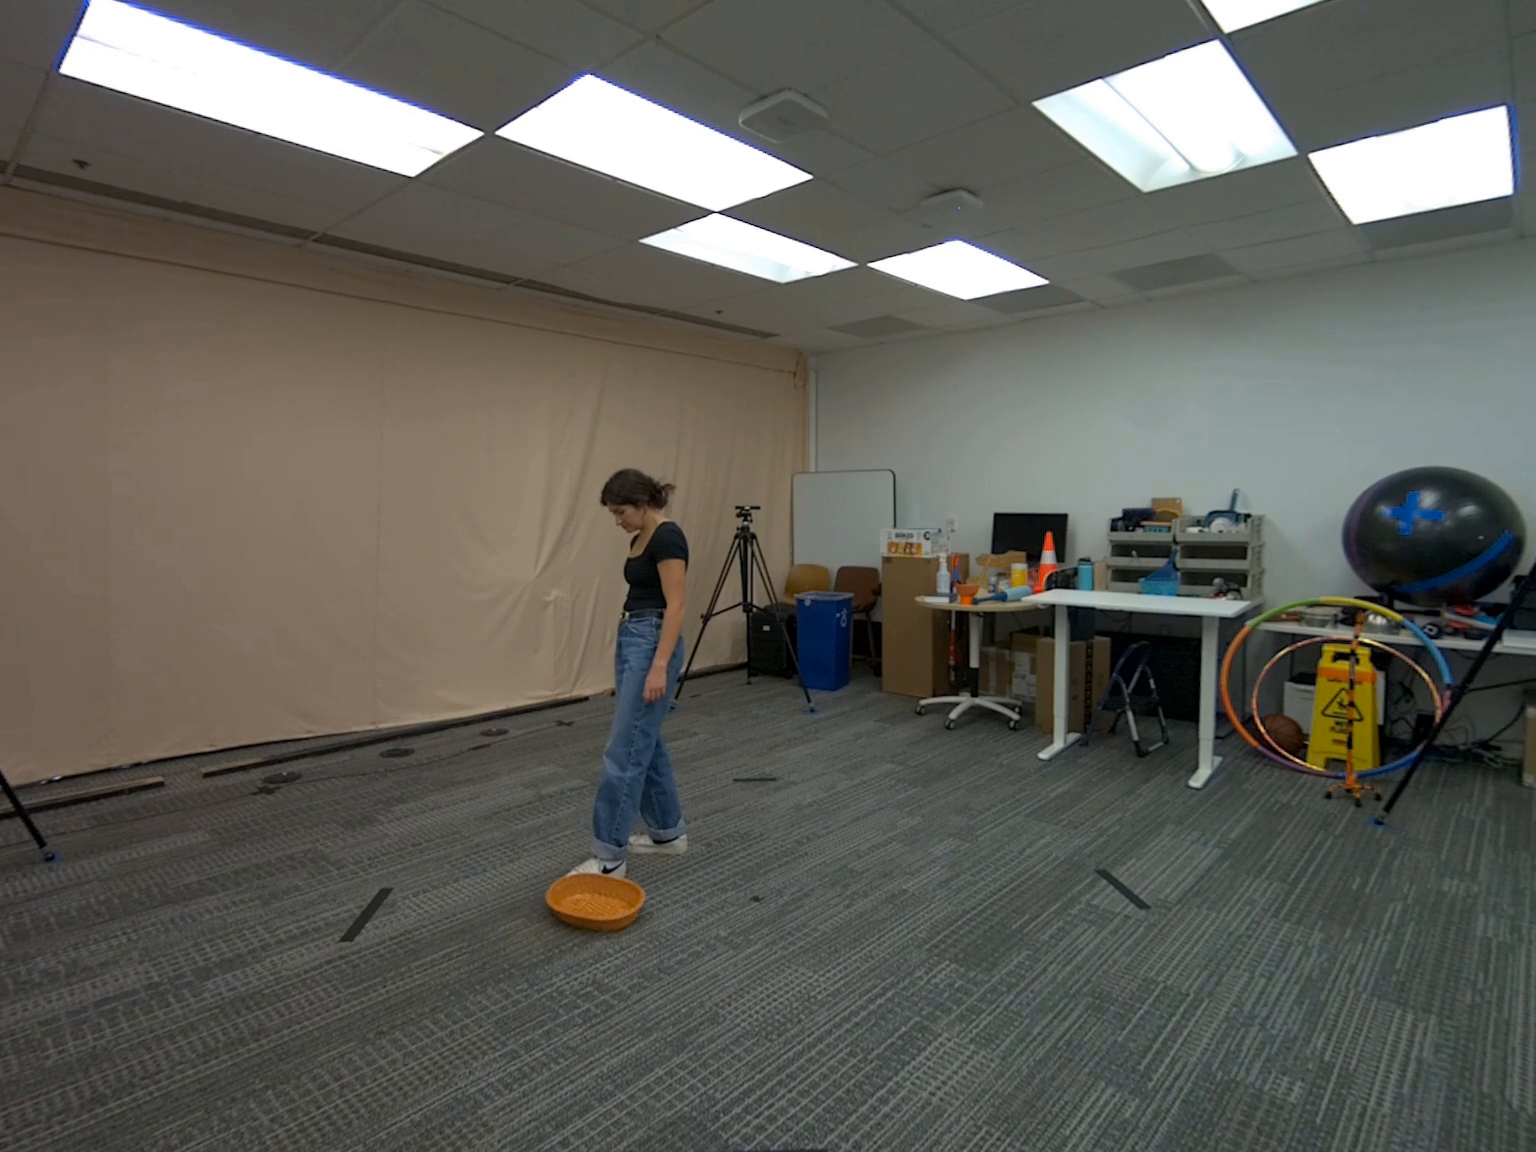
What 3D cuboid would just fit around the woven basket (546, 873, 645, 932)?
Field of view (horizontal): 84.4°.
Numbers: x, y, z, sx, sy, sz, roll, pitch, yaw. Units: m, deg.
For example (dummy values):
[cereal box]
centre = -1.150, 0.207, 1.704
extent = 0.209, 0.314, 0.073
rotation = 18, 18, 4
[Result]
[woven basket]
centre = -0.579, 1.106, 2.864
extent = 0.359, 0.073, 0.248
rotation = 4, 11, 23
